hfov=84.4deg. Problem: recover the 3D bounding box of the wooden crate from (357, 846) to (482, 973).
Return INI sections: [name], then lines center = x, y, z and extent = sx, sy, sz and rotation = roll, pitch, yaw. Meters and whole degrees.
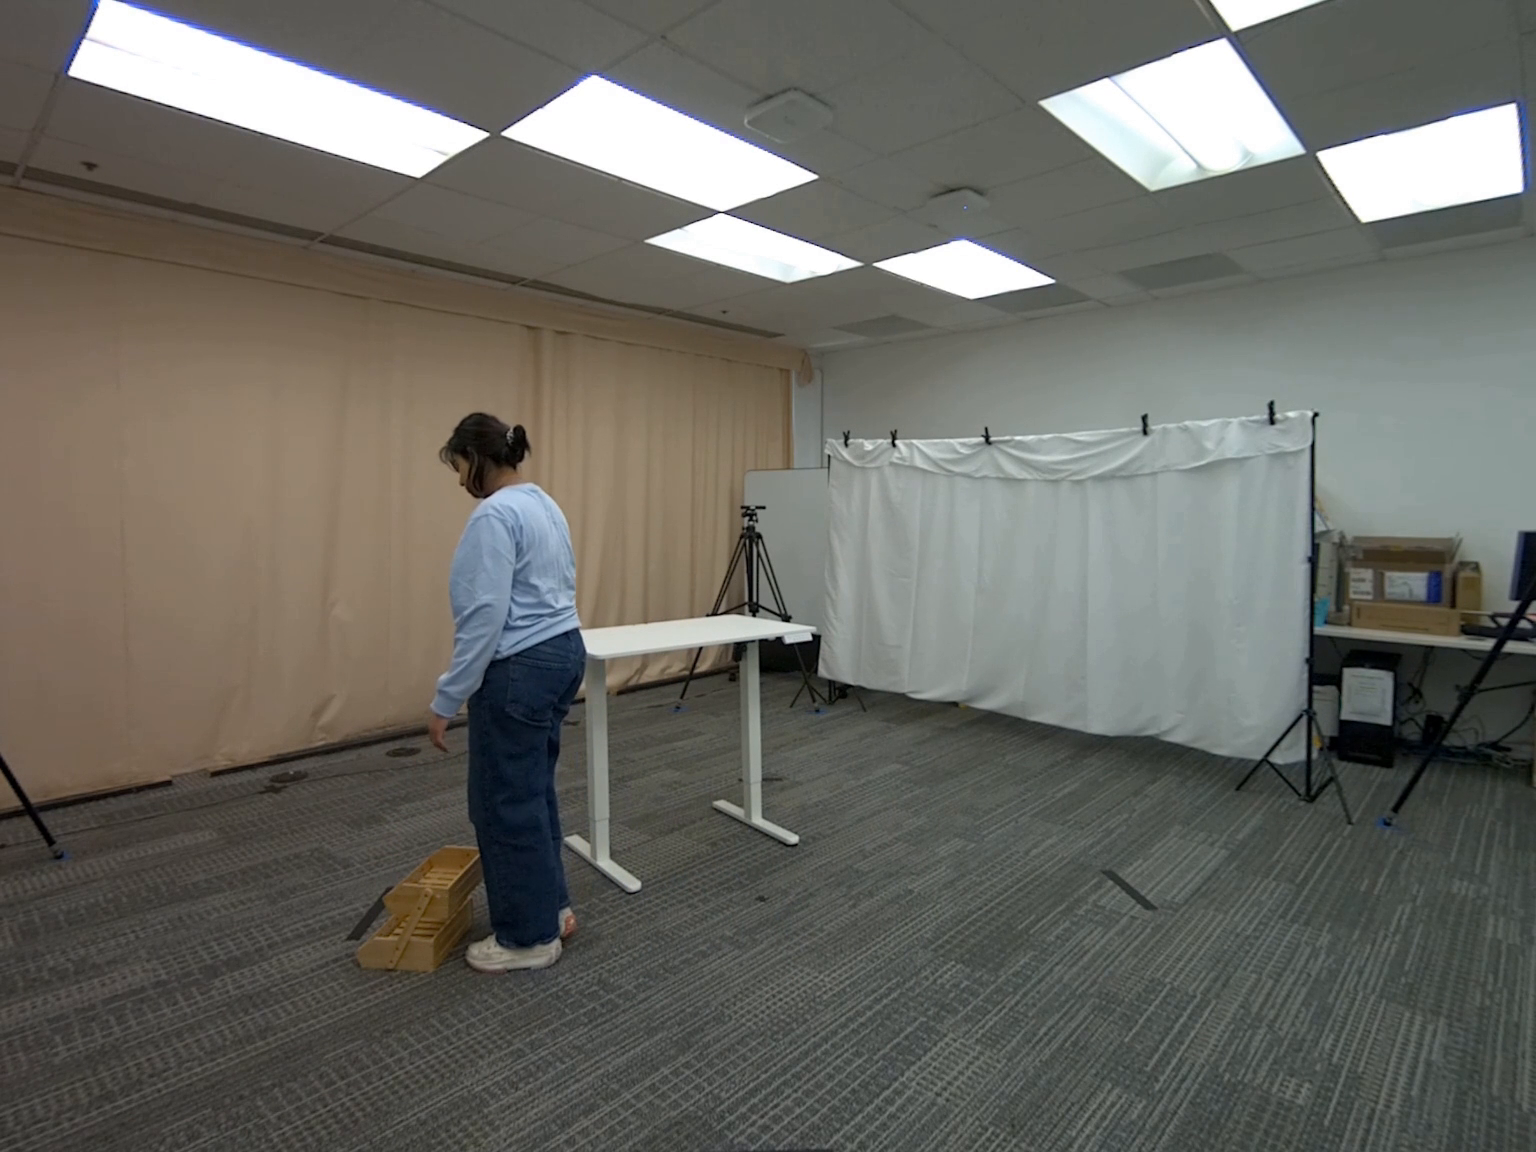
[wooden crate]
center = -1.100, 1.050, 2.681
extent = 0.304, 0.273, 0.323
rotation = 1, 3, 4
